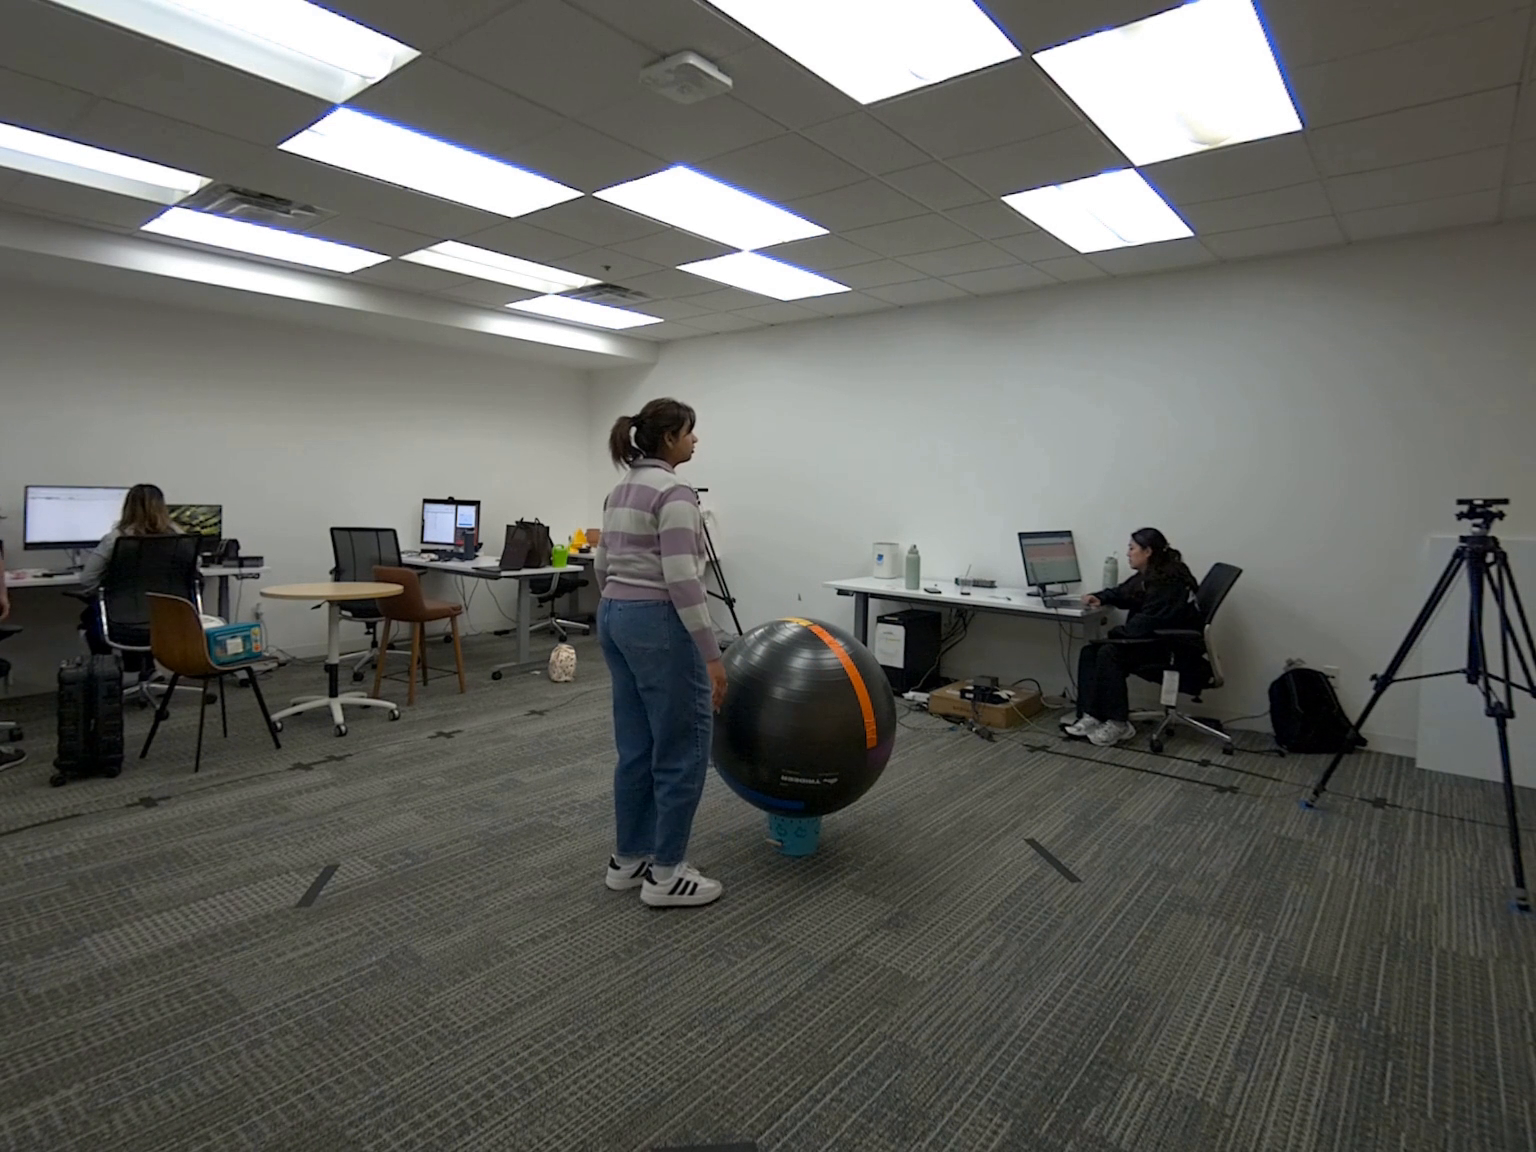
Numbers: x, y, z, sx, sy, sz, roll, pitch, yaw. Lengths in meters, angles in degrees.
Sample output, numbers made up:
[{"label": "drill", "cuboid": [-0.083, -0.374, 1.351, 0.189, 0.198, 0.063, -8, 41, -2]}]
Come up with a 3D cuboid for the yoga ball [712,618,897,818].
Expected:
[{"label": "yoga ball", "cuboid": [0.130, 0.547, 3.328, 0.757, 0.756, 0.762, 1, 4, -2]}]
